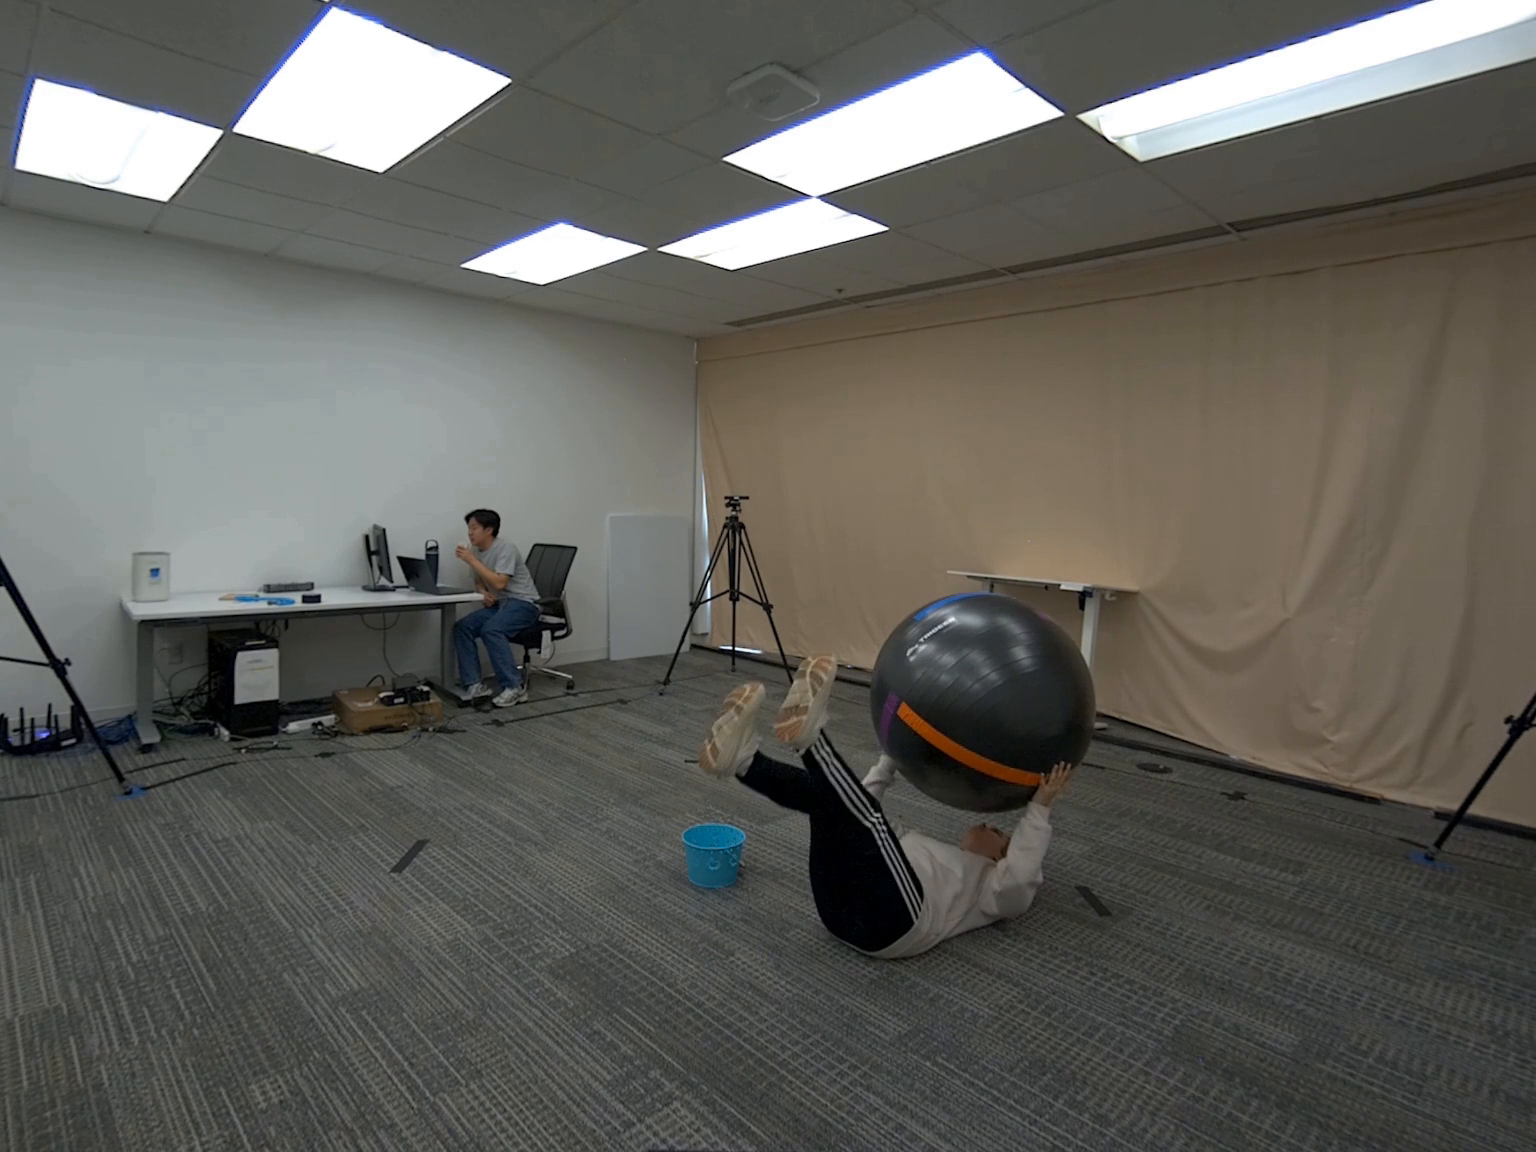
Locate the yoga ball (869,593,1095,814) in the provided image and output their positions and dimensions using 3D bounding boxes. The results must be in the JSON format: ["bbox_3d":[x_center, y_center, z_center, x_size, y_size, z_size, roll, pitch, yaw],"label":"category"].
[{"bbox_3d":[0.739,0.438,2.958,0.757,0.756,0.761,1,4,-1],"label":"yoga ball"}]
